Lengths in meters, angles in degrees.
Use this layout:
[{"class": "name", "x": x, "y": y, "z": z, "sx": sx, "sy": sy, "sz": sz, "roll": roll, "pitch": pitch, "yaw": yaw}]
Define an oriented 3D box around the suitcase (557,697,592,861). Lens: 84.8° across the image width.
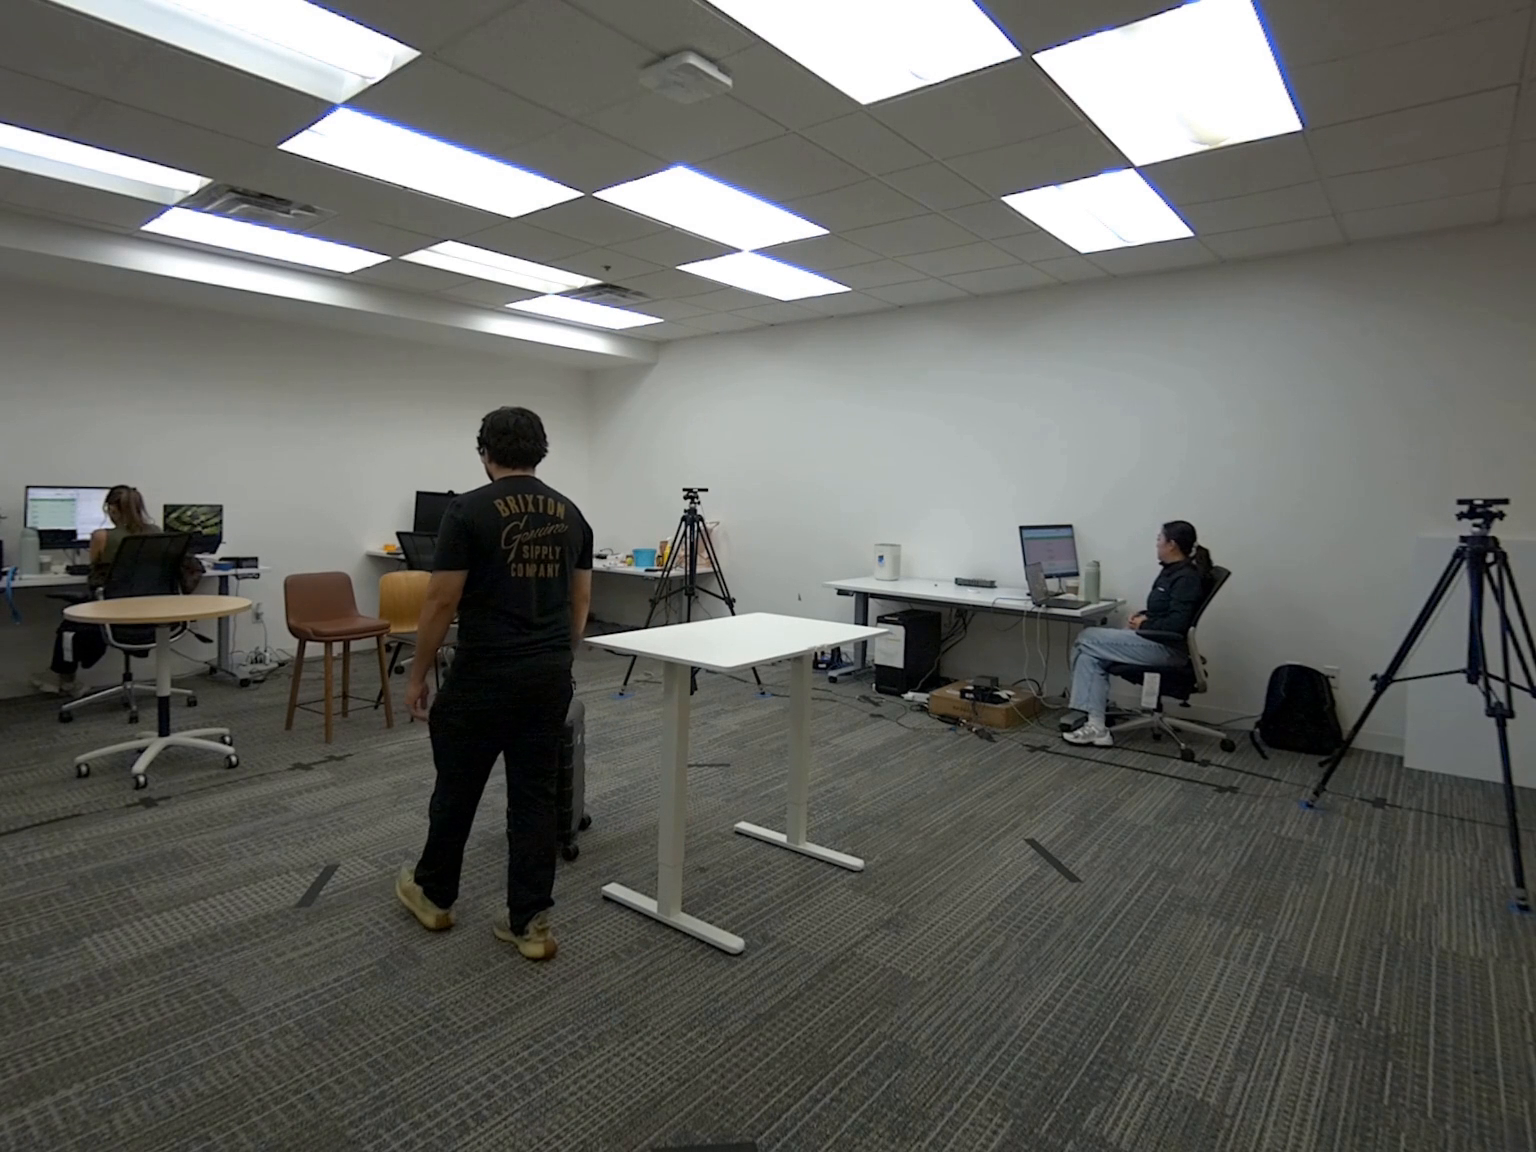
[{"class": "suitcase", "x": -0.873, "y": 0.765, "z": 3.324, "sx": 0.248, "sy": 0.548, "sz": 0.377, "roll": -1, "pitch": 3, "yaw": -3}]
